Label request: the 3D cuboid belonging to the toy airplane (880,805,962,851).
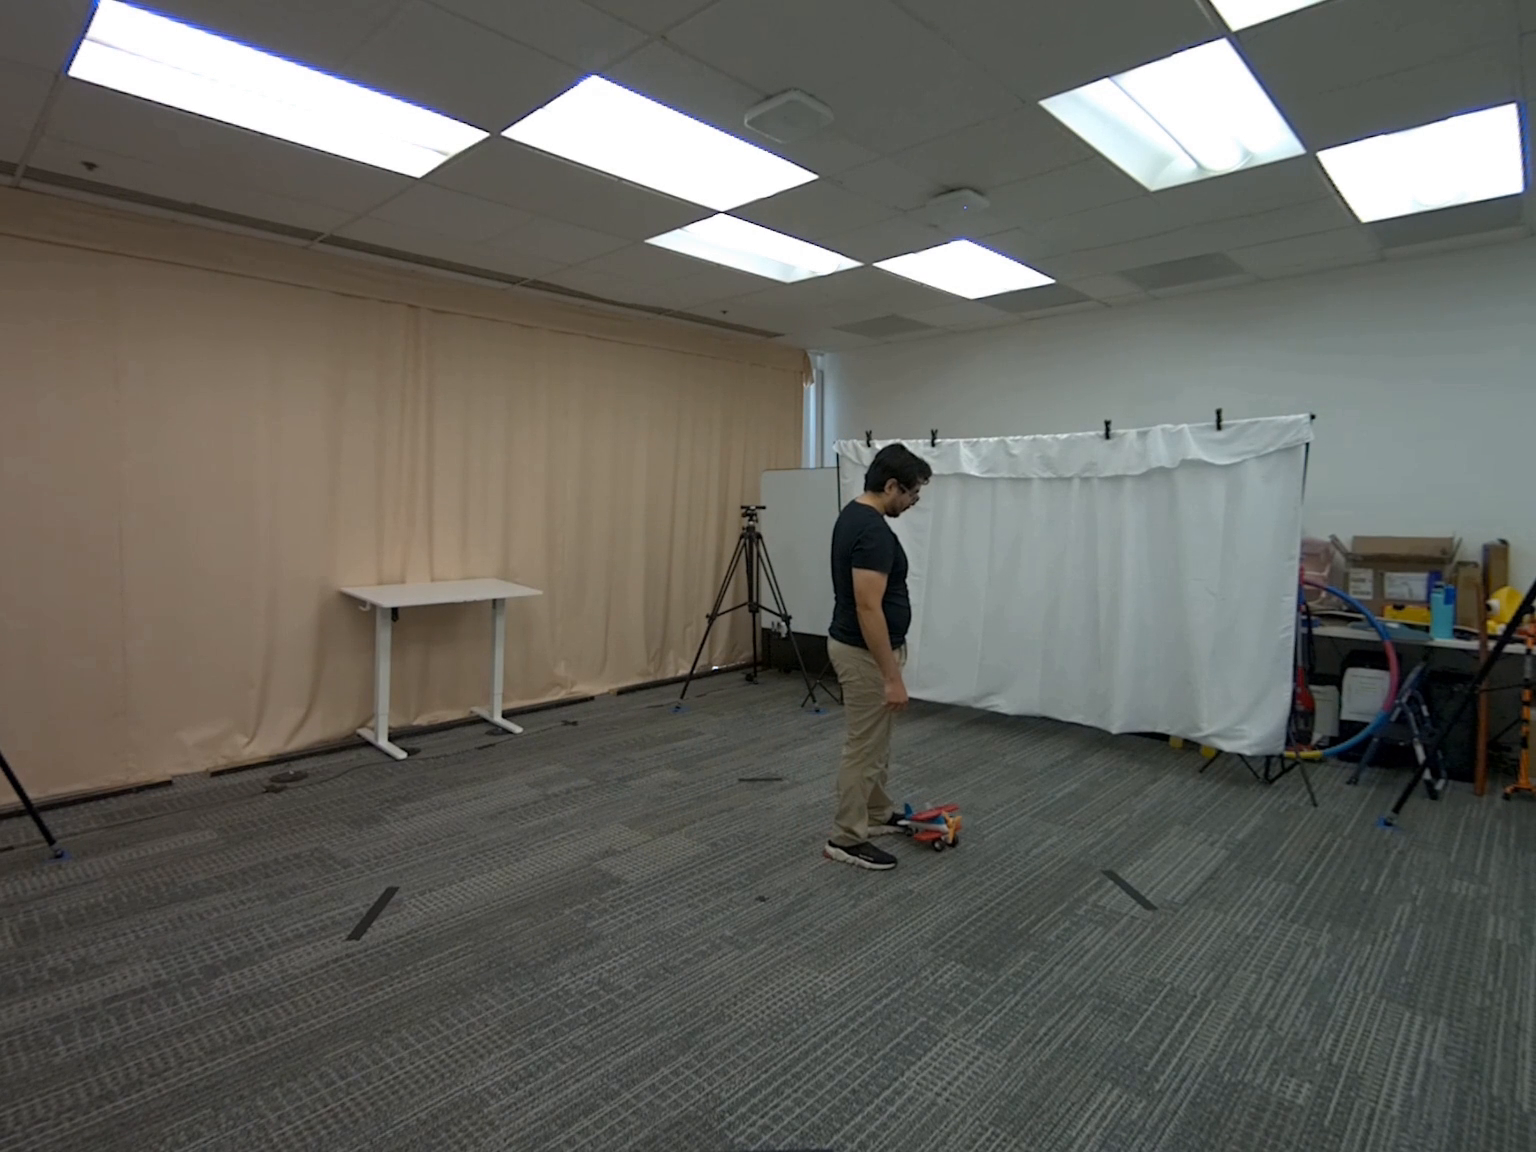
[{"bbox_3d":[0.653,1.026,3.465,0.266,0.156,0.245,3,4,24],"label":"toy airplane"}]
